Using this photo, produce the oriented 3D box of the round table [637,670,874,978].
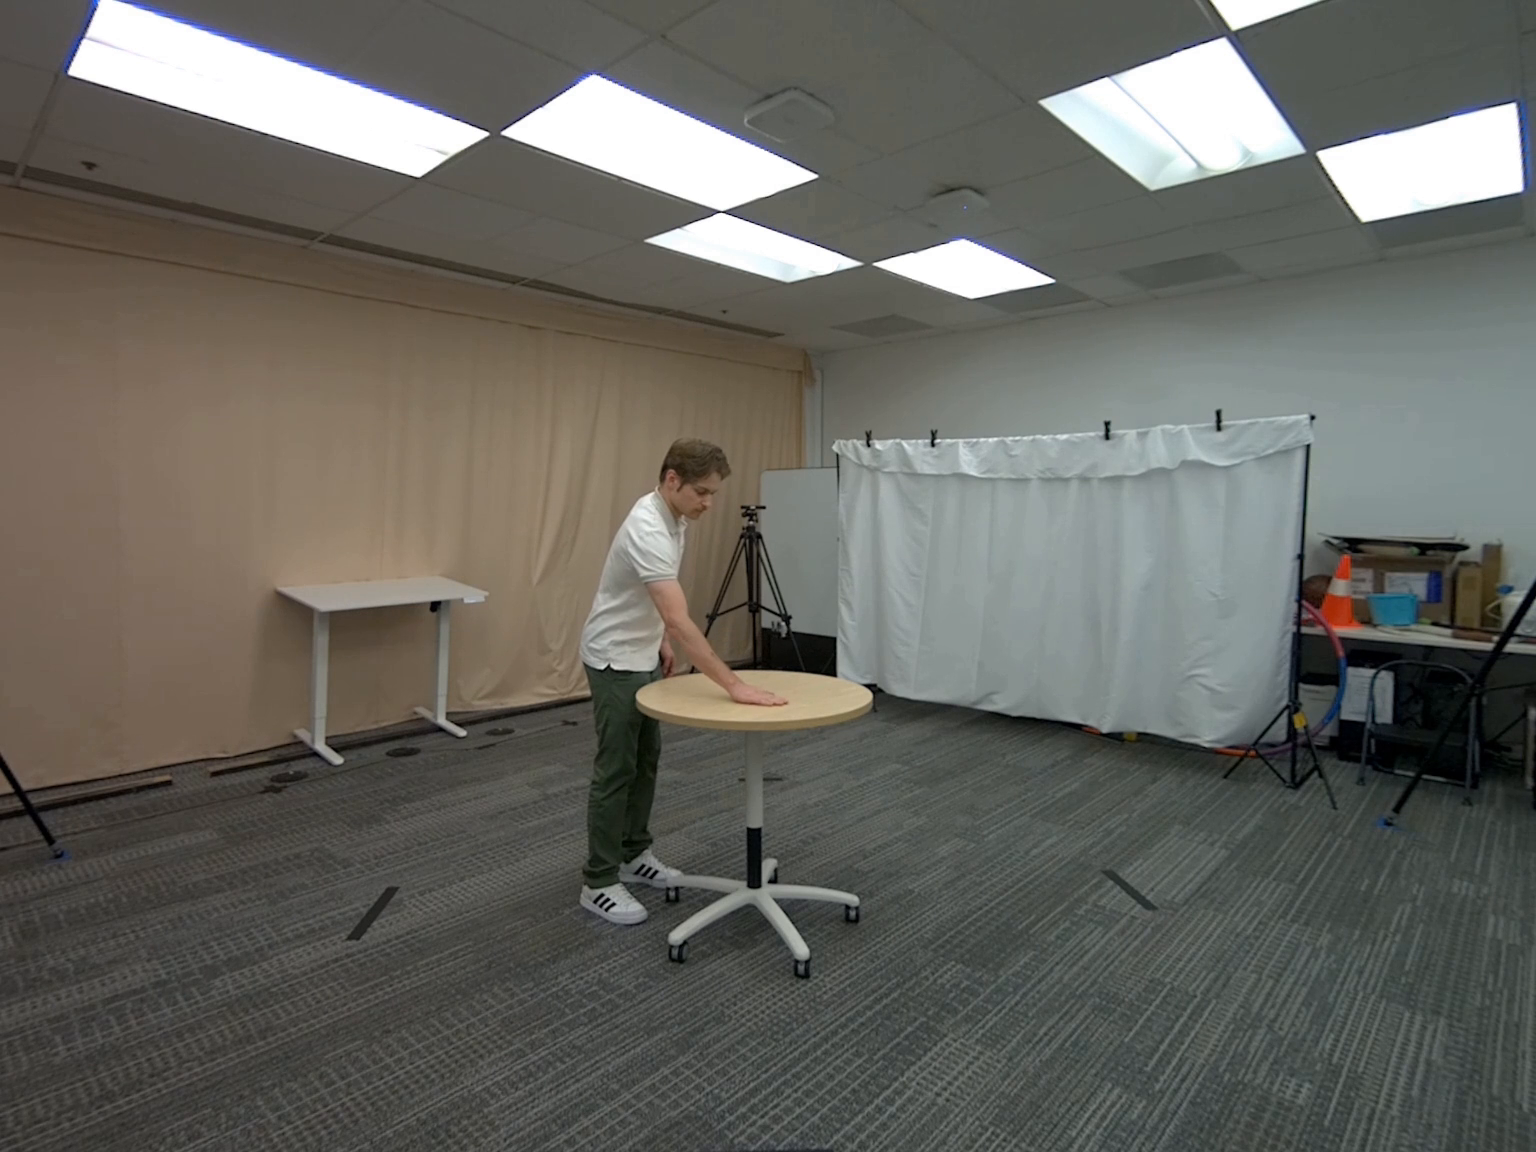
[{"bbox_3d":[-0.035,0.770,2.744,0.784,0.785,0.787,-1,3,-2],"label":"round table"}]
